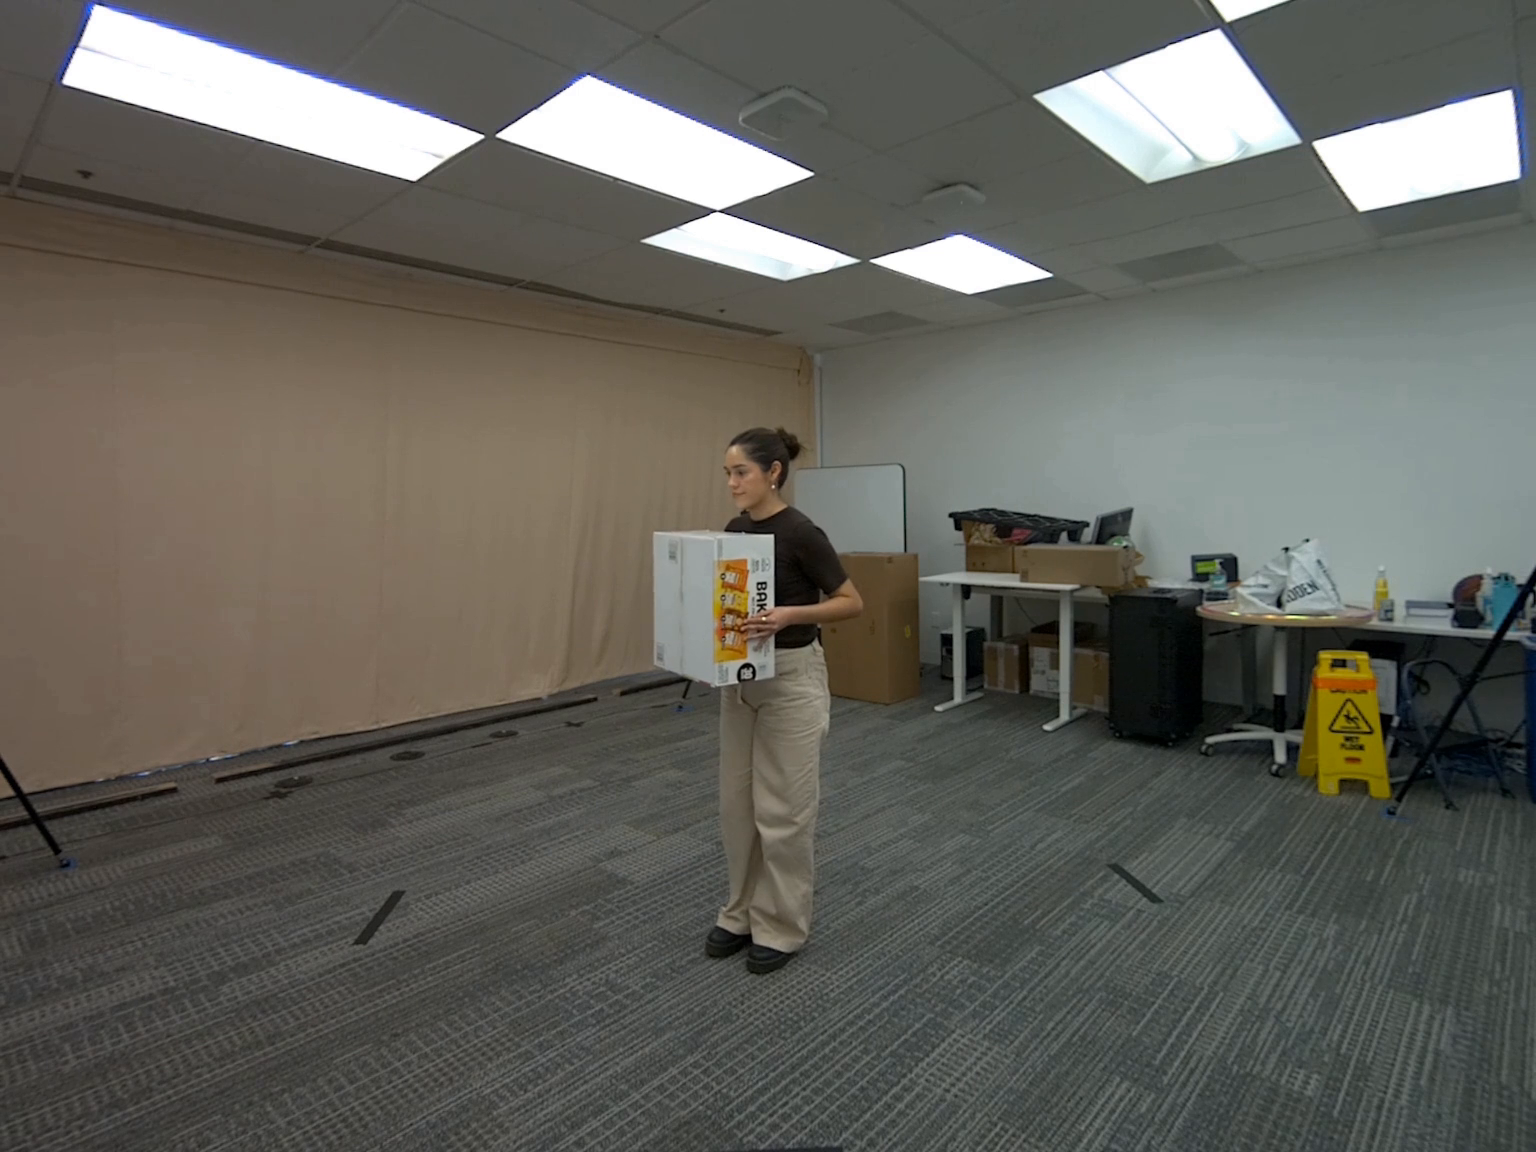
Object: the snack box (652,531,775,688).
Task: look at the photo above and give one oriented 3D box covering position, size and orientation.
[{"bbox_3d":[-0.161,0.078,2.443,0.200,0.404,0.351,-3,5,-36],"label":"snack box"}]
